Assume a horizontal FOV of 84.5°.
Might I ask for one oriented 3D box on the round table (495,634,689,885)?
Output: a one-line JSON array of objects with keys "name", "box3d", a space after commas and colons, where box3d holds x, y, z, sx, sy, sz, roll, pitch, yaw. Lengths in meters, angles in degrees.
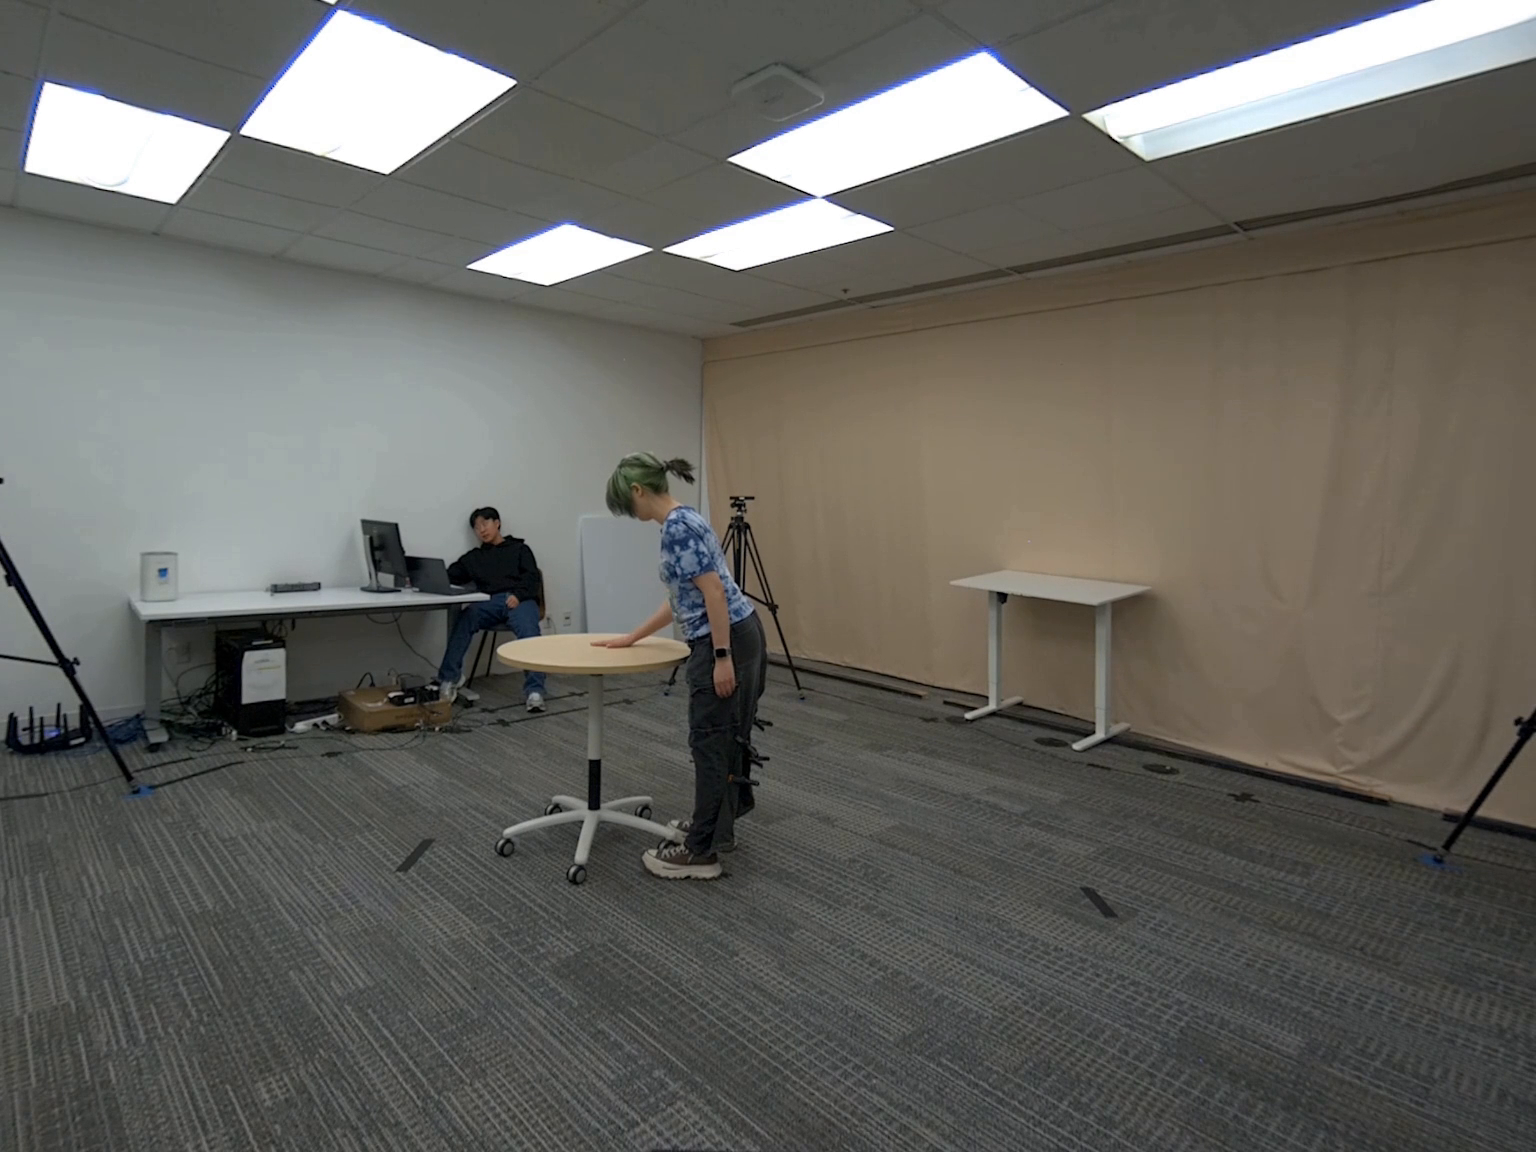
[{"name": "round table", "box3d": [-0.680, 0.675, 3.351, 0.784, 0.784, 0.788, 1, 4, -1]}]
